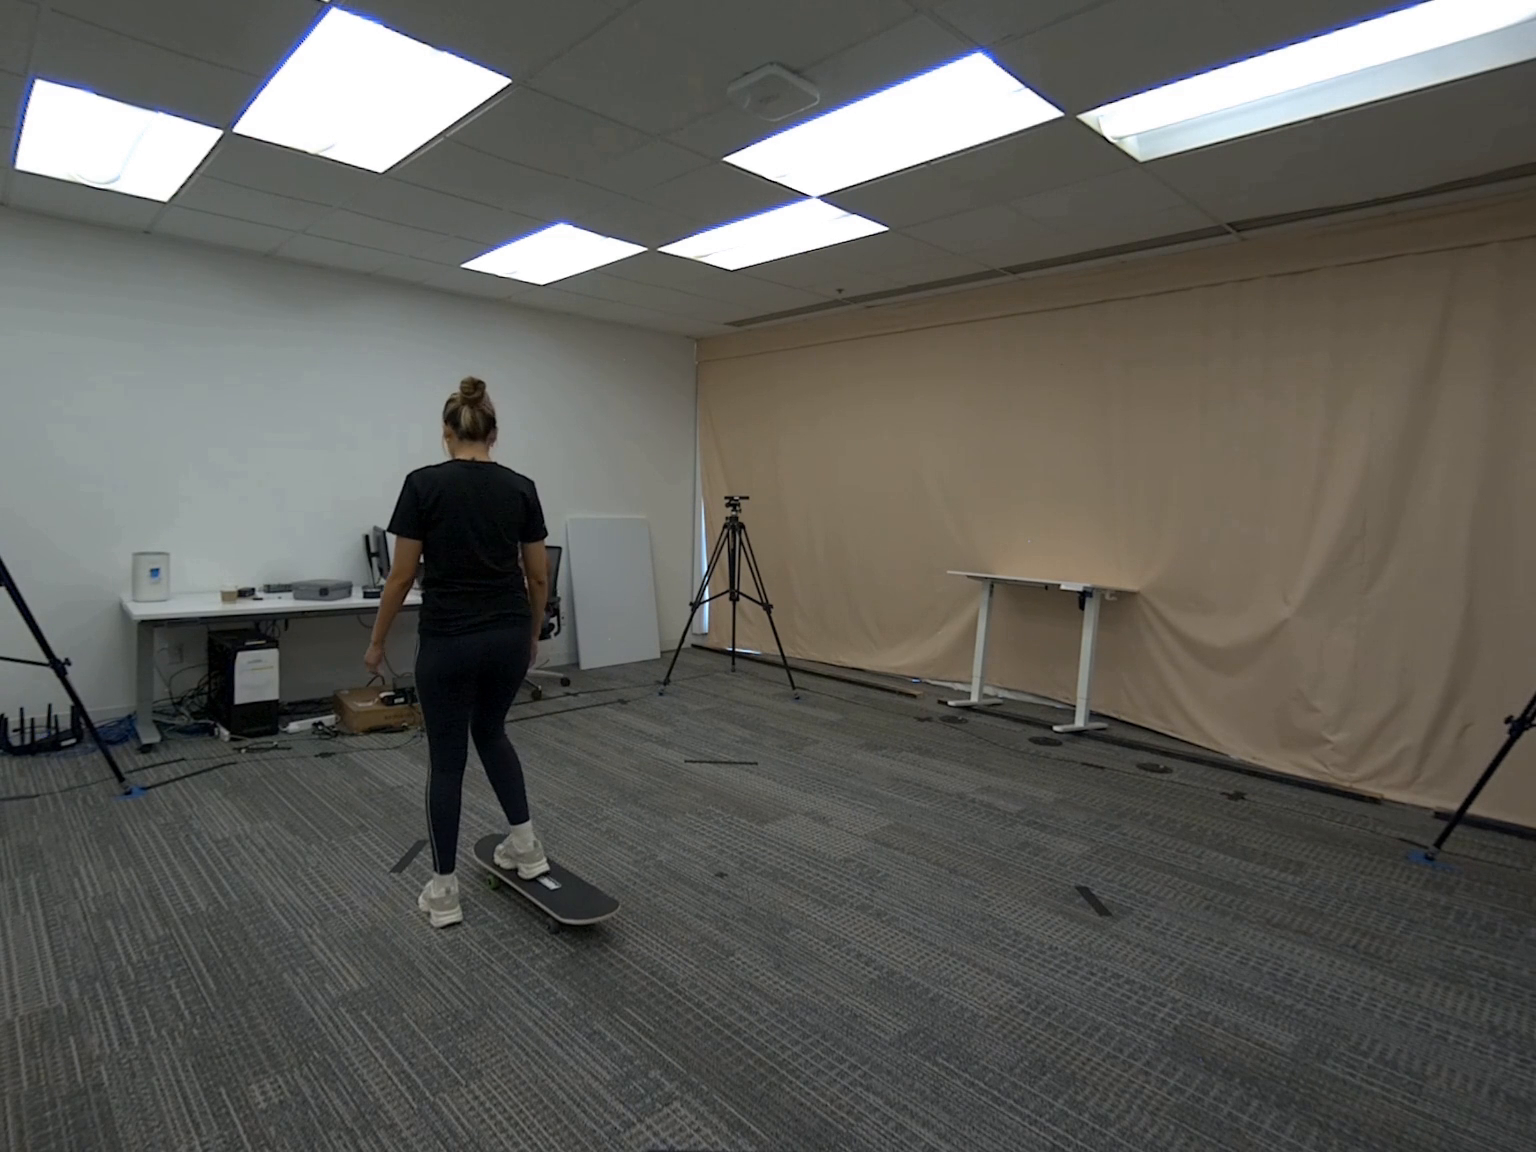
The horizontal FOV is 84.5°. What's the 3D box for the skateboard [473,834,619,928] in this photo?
[{"bbox_3d":[-0.781,1.064,2.861,0.189,0.110,0.806,-6,9,-44],"label":"skateboard"}]
